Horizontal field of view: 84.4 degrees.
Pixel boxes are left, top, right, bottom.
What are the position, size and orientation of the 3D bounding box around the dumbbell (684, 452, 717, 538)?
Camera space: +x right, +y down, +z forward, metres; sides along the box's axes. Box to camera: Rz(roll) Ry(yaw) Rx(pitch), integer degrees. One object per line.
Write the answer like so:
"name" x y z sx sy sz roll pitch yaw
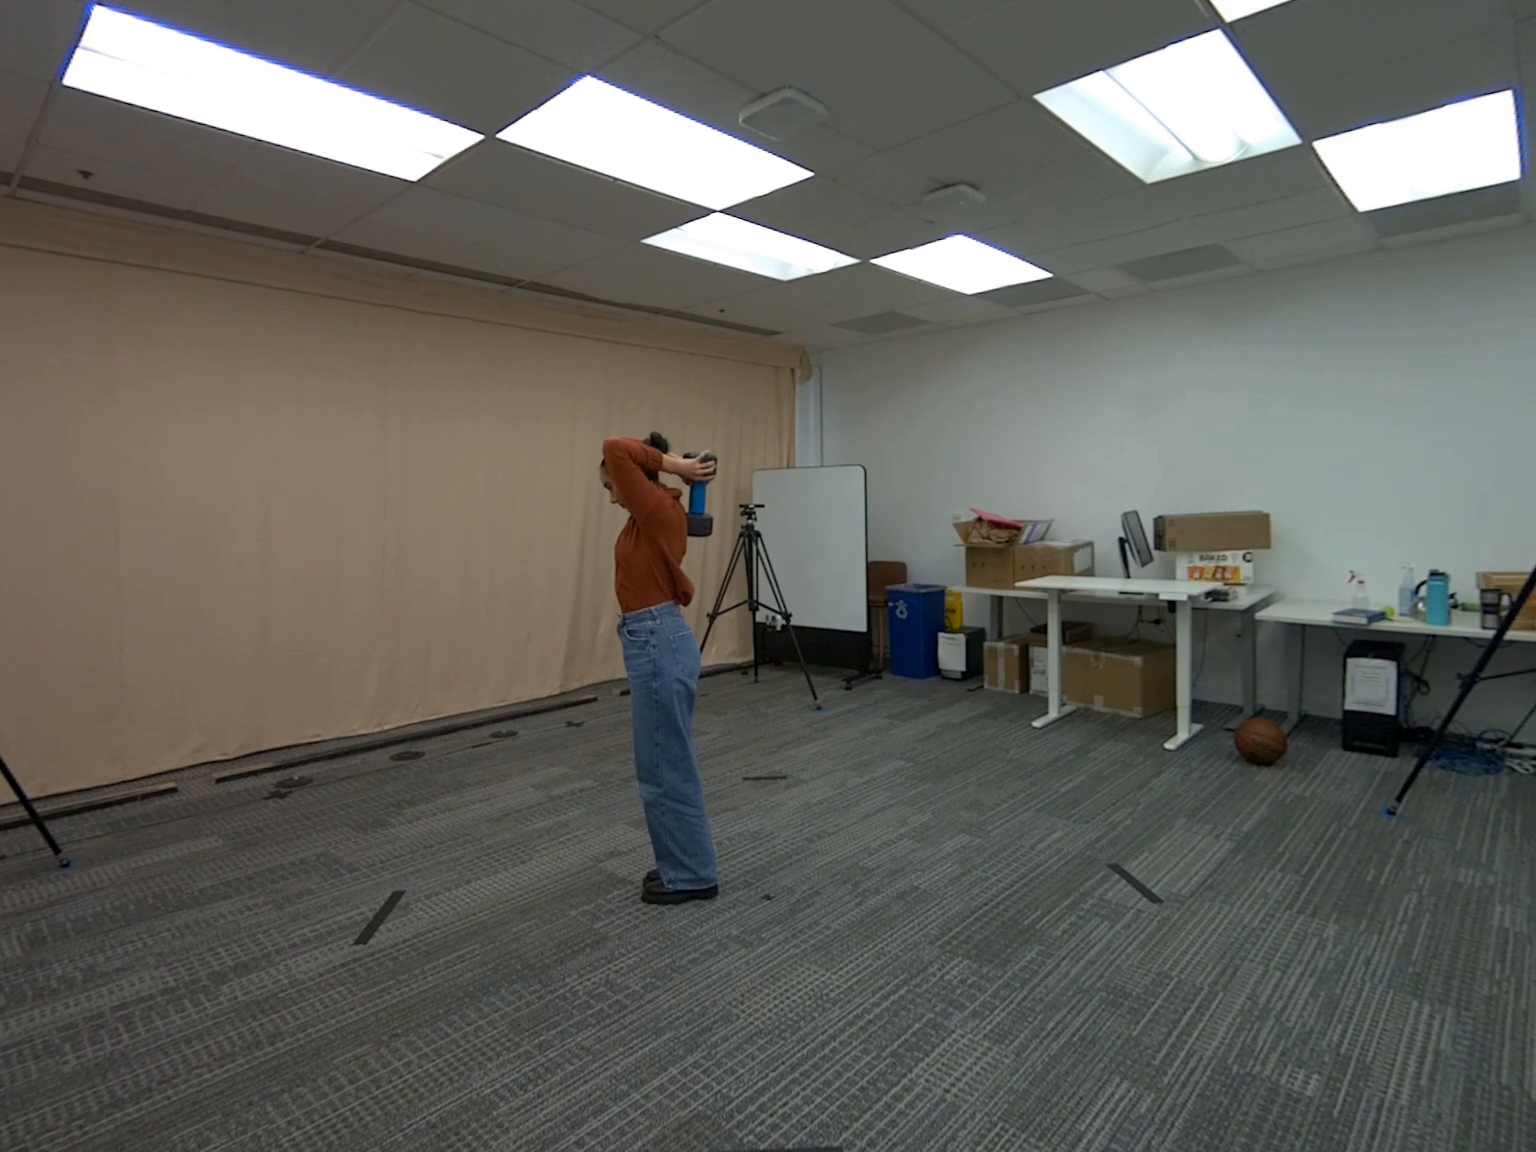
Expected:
"dumbbell" -0.250 -0.285 2.969 0.123 0.292 0.109 -1 5 -1
